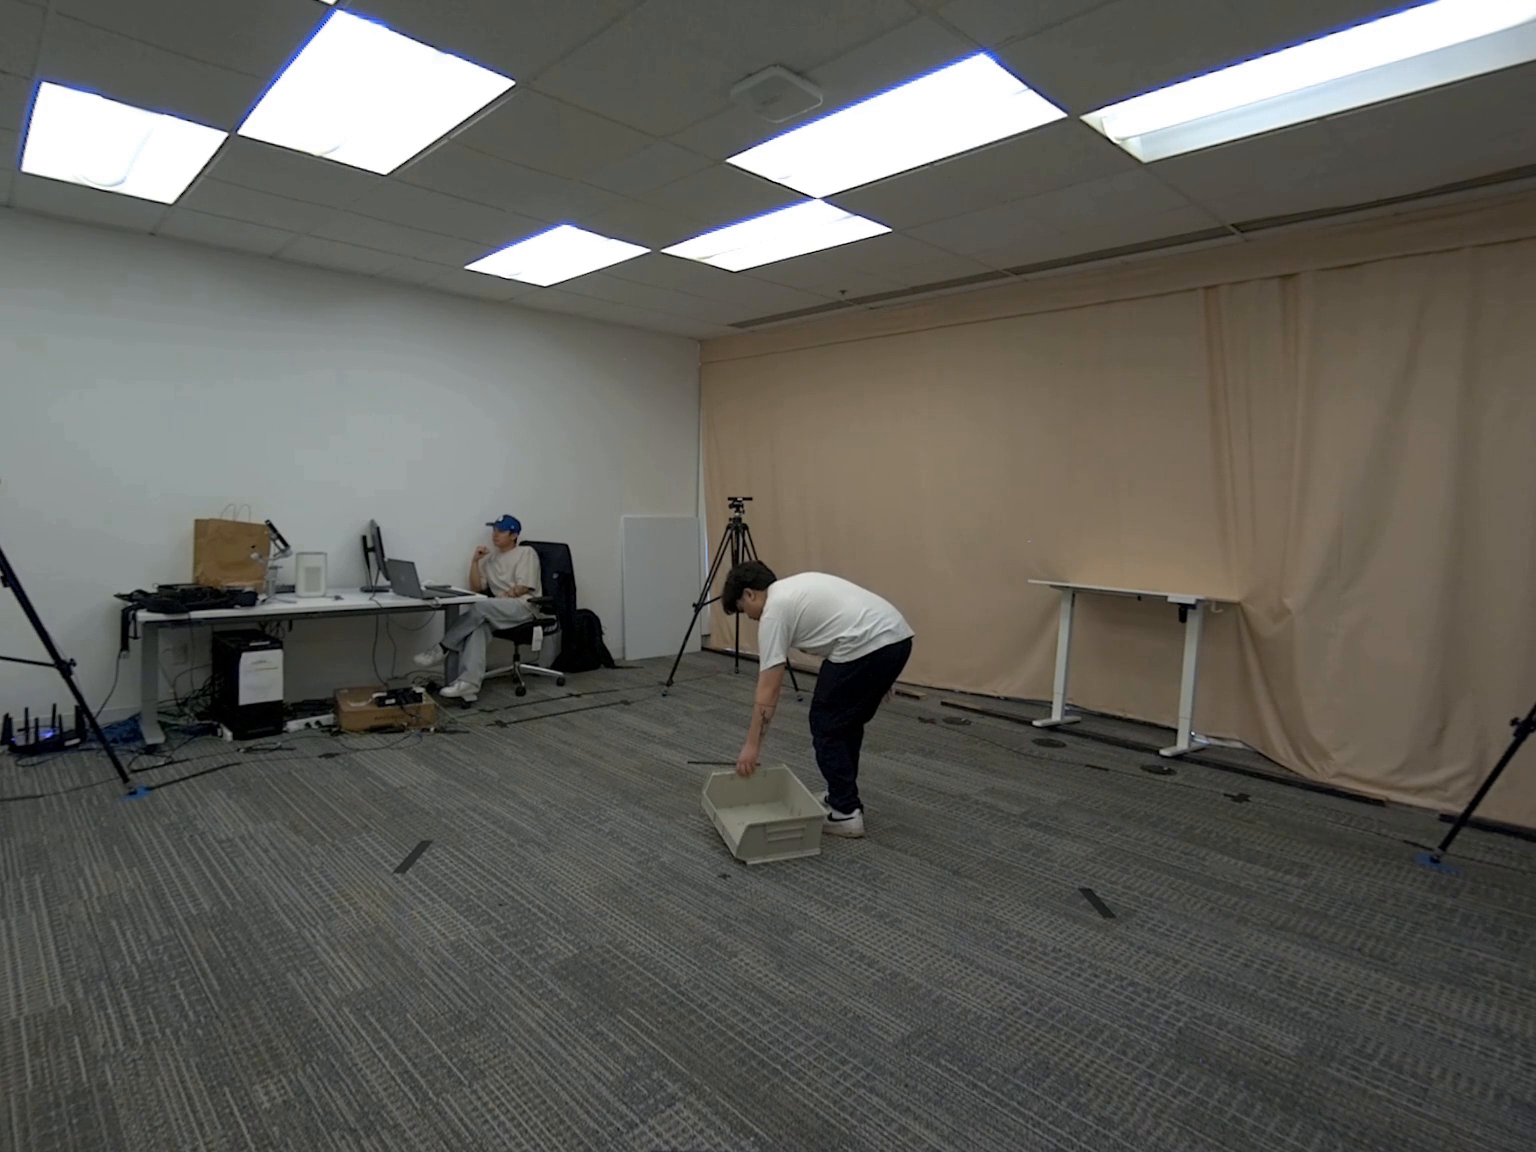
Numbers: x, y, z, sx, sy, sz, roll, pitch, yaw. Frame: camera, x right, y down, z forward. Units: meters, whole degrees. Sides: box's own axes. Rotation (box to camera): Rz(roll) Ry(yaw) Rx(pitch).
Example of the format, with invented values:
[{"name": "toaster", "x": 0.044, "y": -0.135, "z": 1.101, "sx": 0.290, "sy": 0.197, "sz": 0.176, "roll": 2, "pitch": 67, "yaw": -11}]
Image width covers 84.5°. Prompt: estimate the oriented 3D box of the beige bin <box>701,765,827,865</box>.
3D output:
[{"name": "beige bin", "x": -0.033, "y": 0.962, "z": 3.417, "sx": 0.371, "sy": 0.187, "sz": 0.433, "roll": 0, "pitch": 14, "yaw": -23}]
